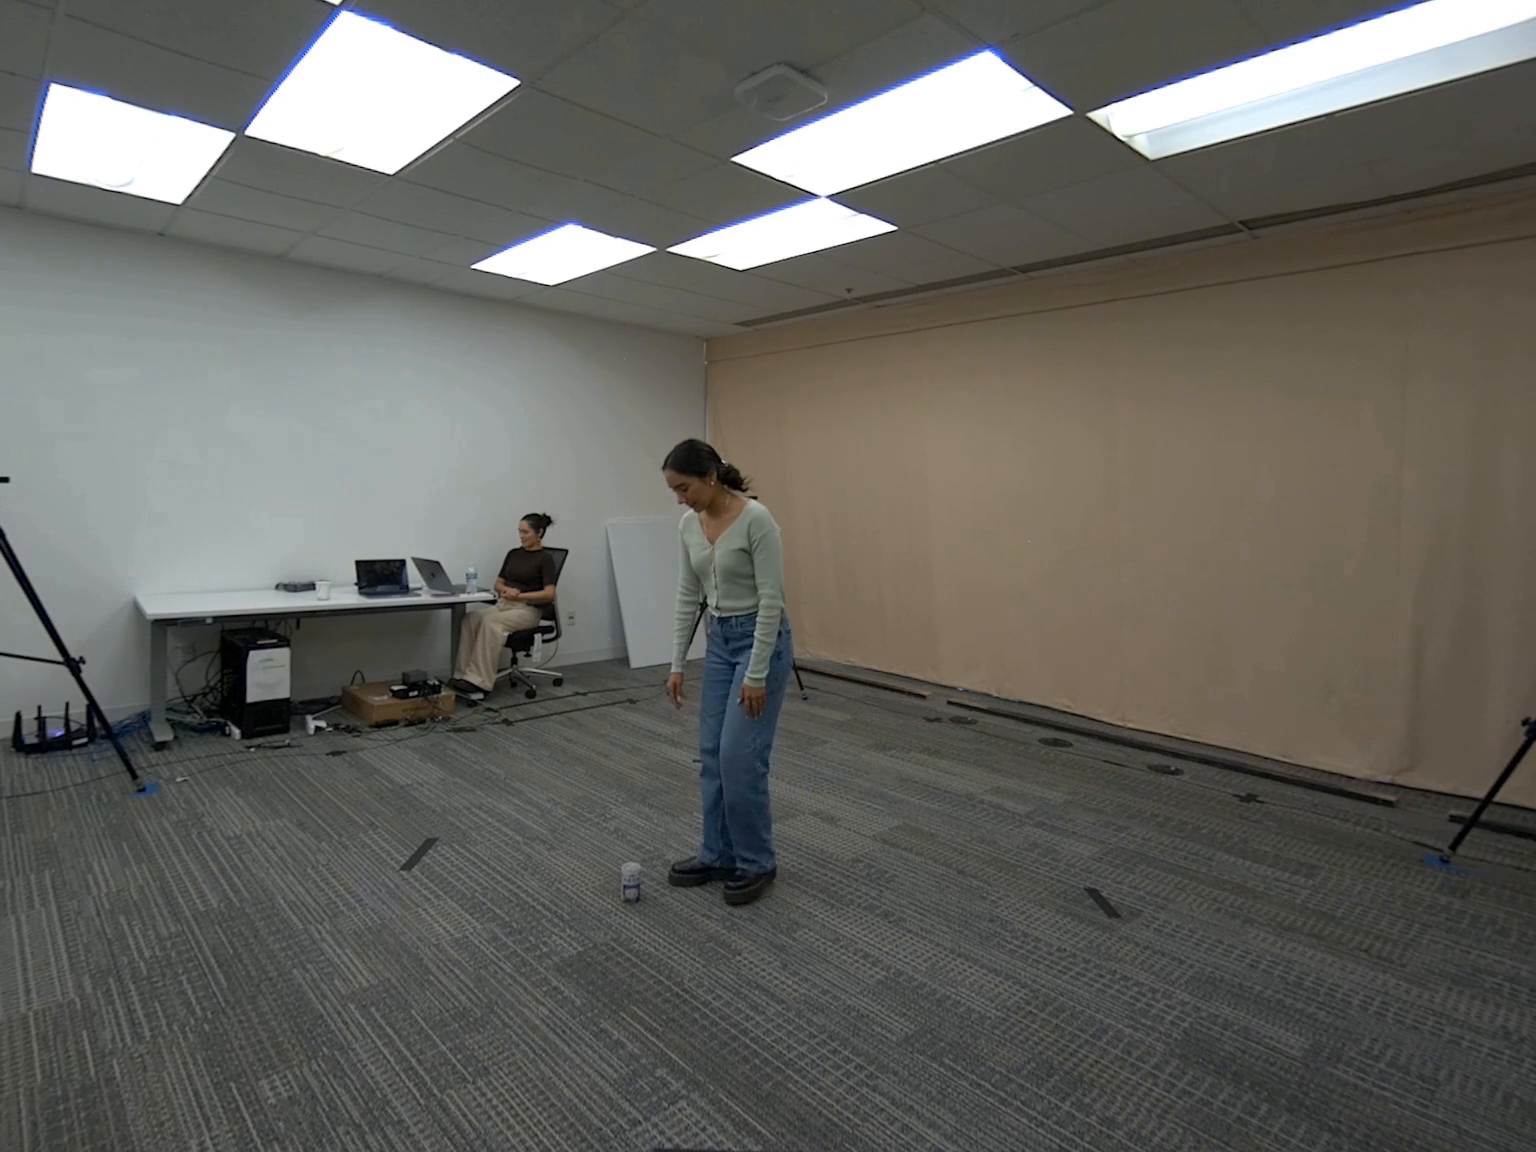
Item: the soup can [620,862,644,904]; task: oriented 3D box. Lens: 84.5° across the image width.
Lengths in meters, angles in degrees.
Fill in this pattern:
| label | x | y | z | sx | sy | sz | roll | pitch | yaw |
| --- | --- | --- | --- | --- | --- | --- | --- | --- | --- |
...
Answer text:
| label | x | y | z | sx | sy | sz | roll | pitch | yaw |
| --- | --- | --- | --- | --- | --- | --- | --- | --- | --- |
| soup can | -0.475 | 1.058 | 2.886 | 0.067 | 0.121 | 0.067 | 2 | 2 | -1 |
